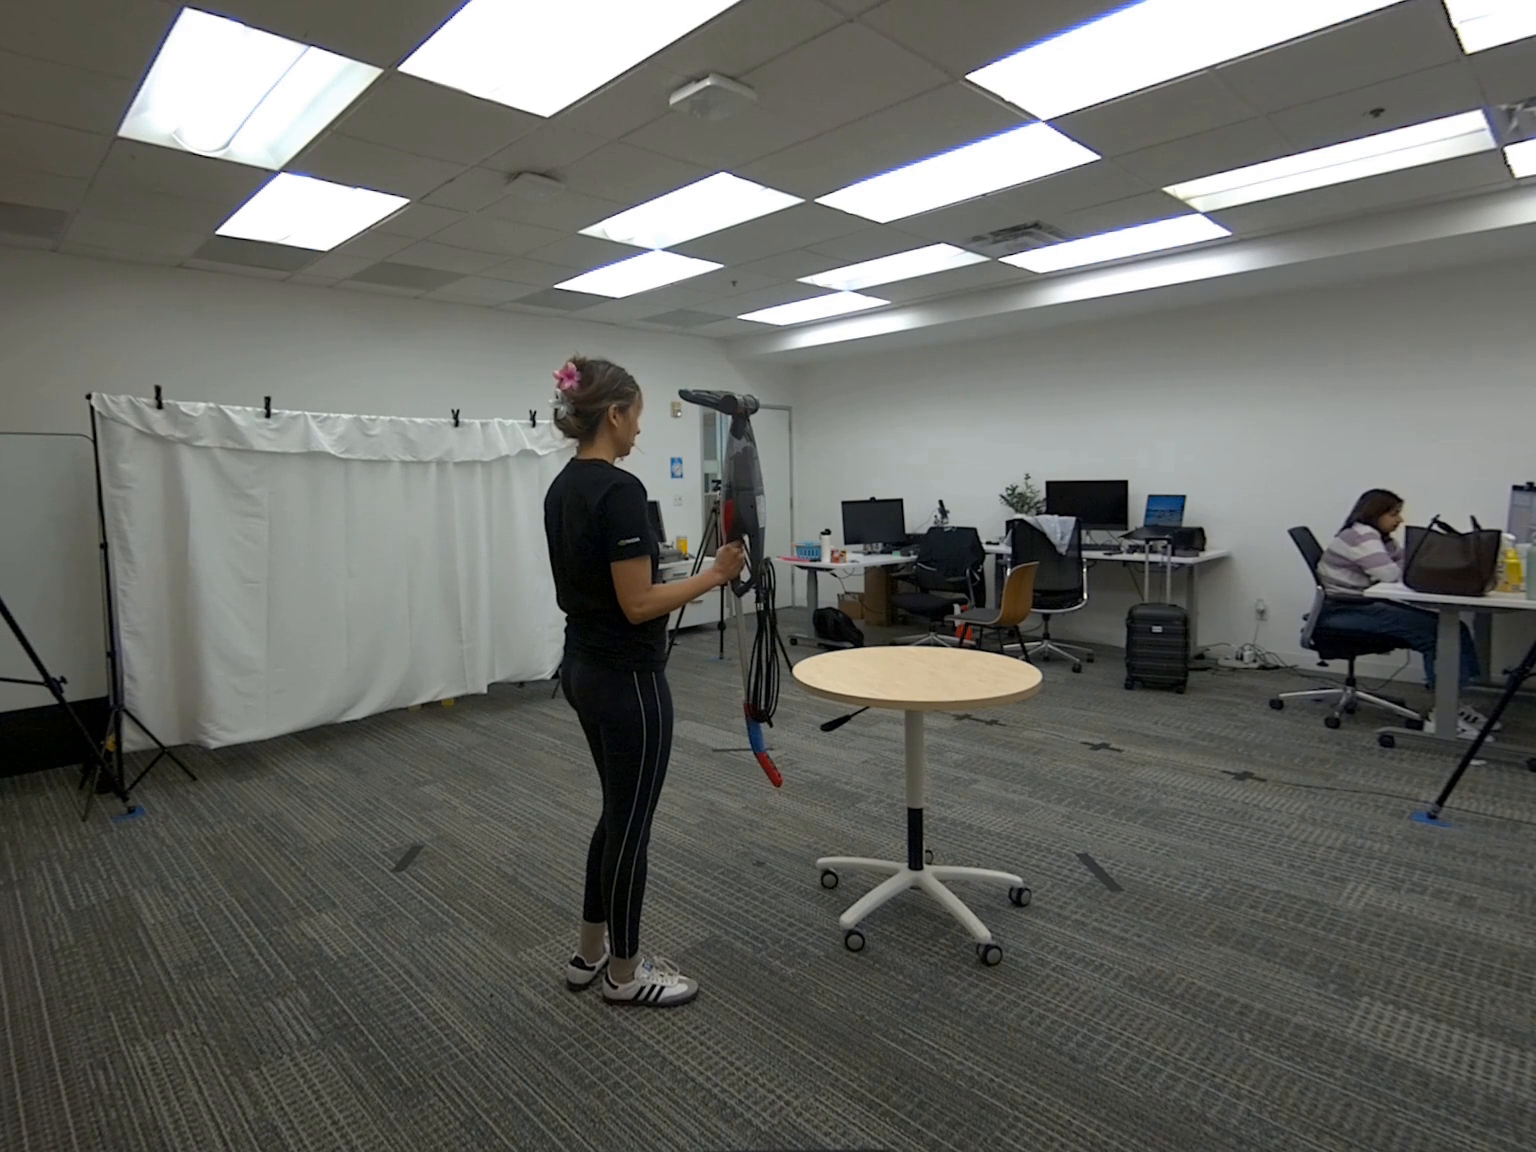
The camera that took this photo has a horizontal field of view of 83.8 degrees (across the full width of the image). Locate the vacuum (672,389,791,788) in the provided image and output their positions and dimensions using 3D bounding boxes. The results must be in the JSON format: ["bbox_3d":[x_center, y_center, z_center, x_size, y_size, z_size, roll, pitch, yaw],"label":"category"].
[{"bbox_3d":[-0.040,0.050,2.250,0.147,1.047,0.247,-6,2,30],"label":"vacuum"}]
